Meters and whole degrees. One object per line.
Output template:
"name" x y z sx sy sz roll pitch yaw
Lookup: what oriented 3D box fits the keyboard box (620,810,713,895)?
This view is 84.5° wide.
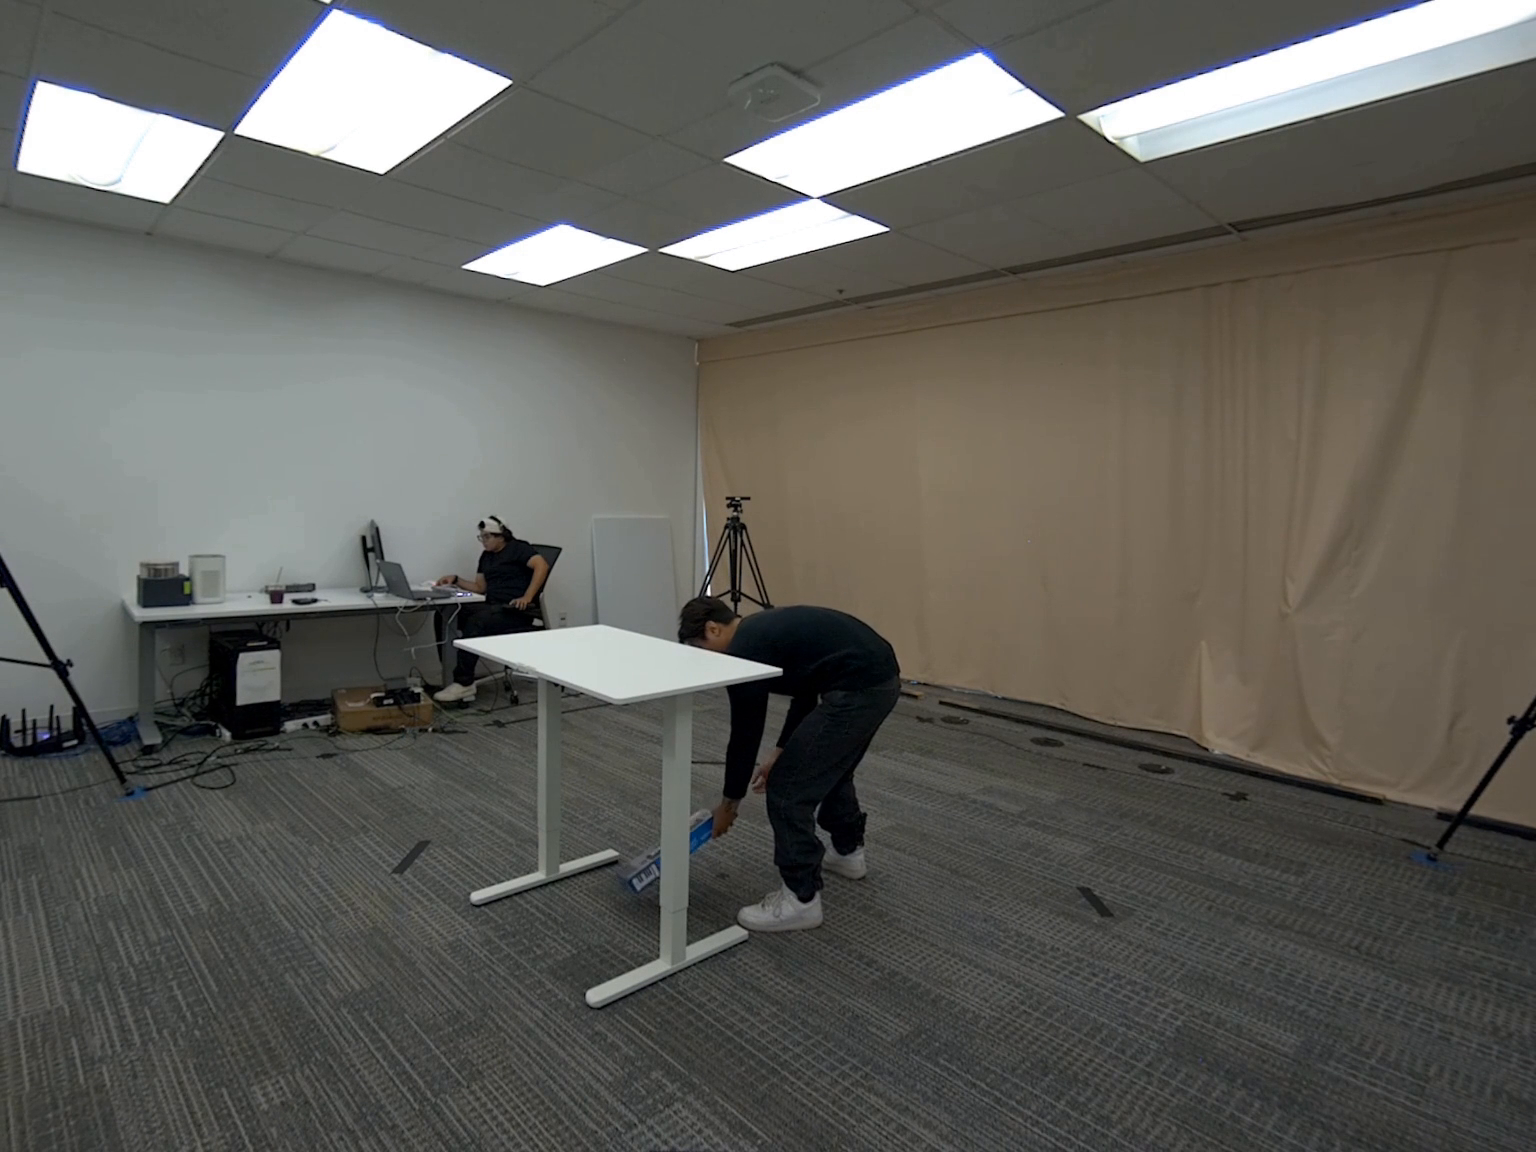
"keyboard box" -0.330 0.934 2.928 0.434 0.059 0.177 -30 2 -22
